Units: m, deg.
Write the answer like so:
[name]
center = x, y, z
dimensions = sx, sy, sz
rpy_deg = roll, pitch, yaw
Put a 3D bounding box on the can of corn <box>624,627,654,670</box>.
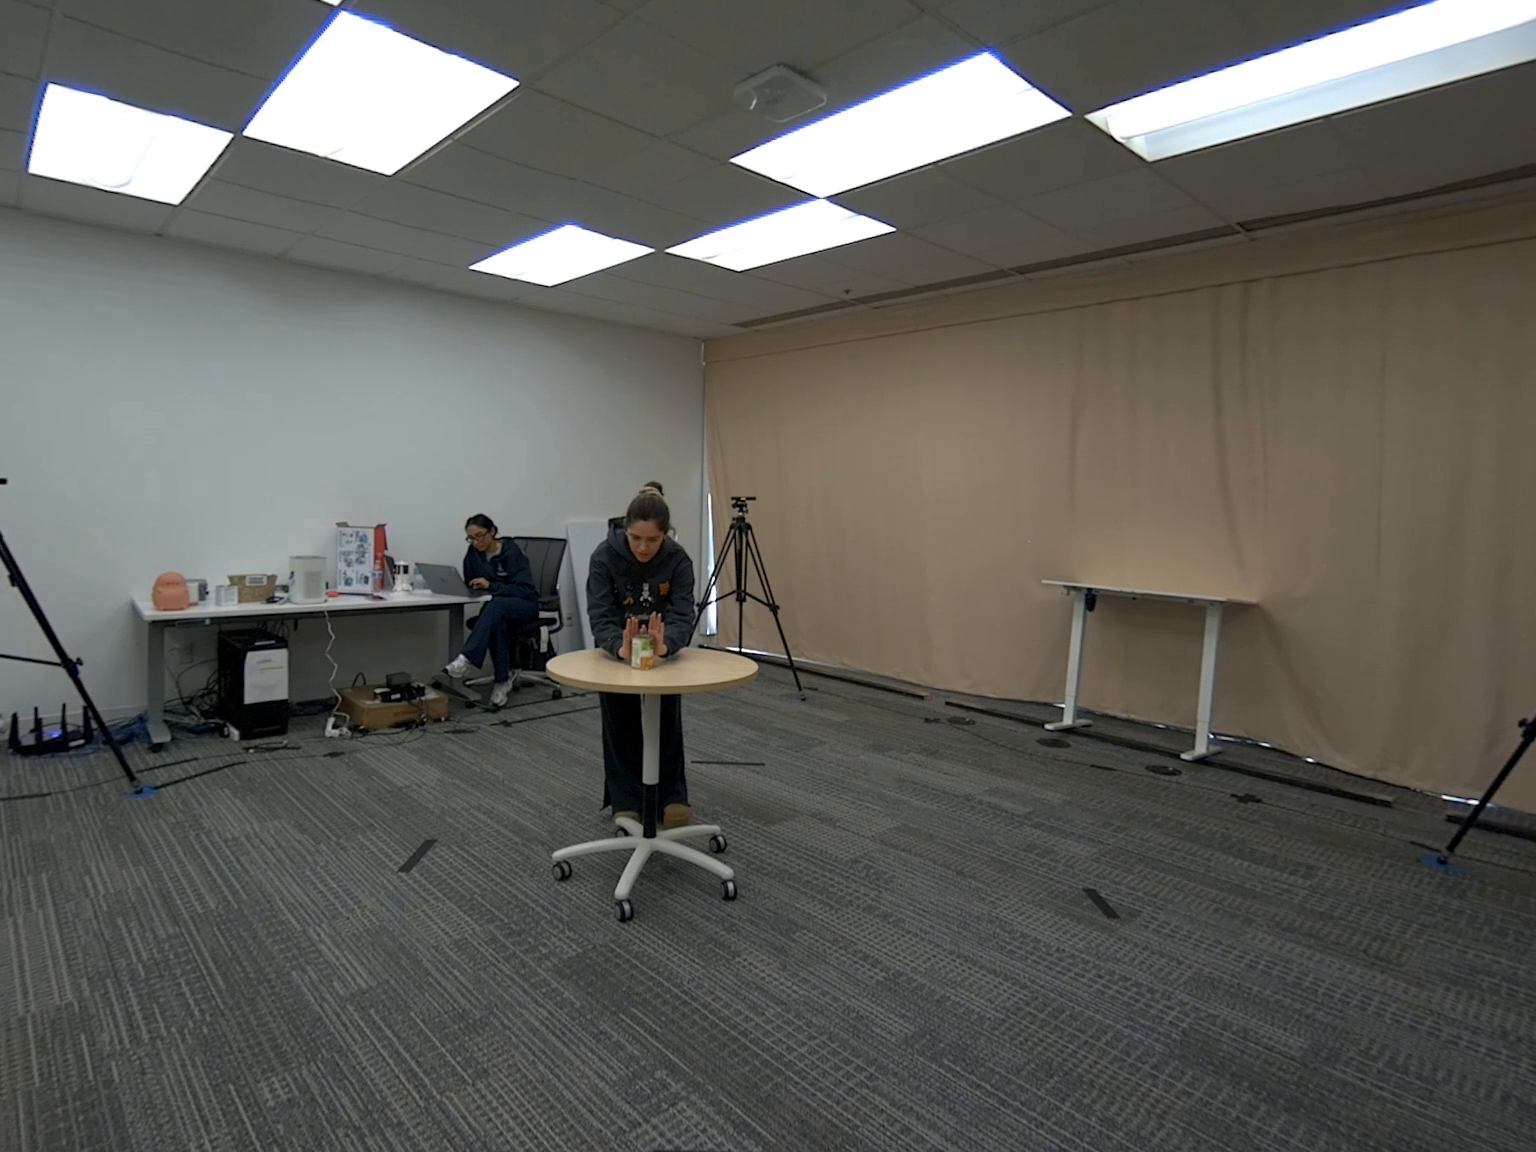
[can of corn]
center = -0.461, 0.272, 2.988
dimensions = 0.074, 0.110, 0.074
rpy_deg = 0, 5, -1
